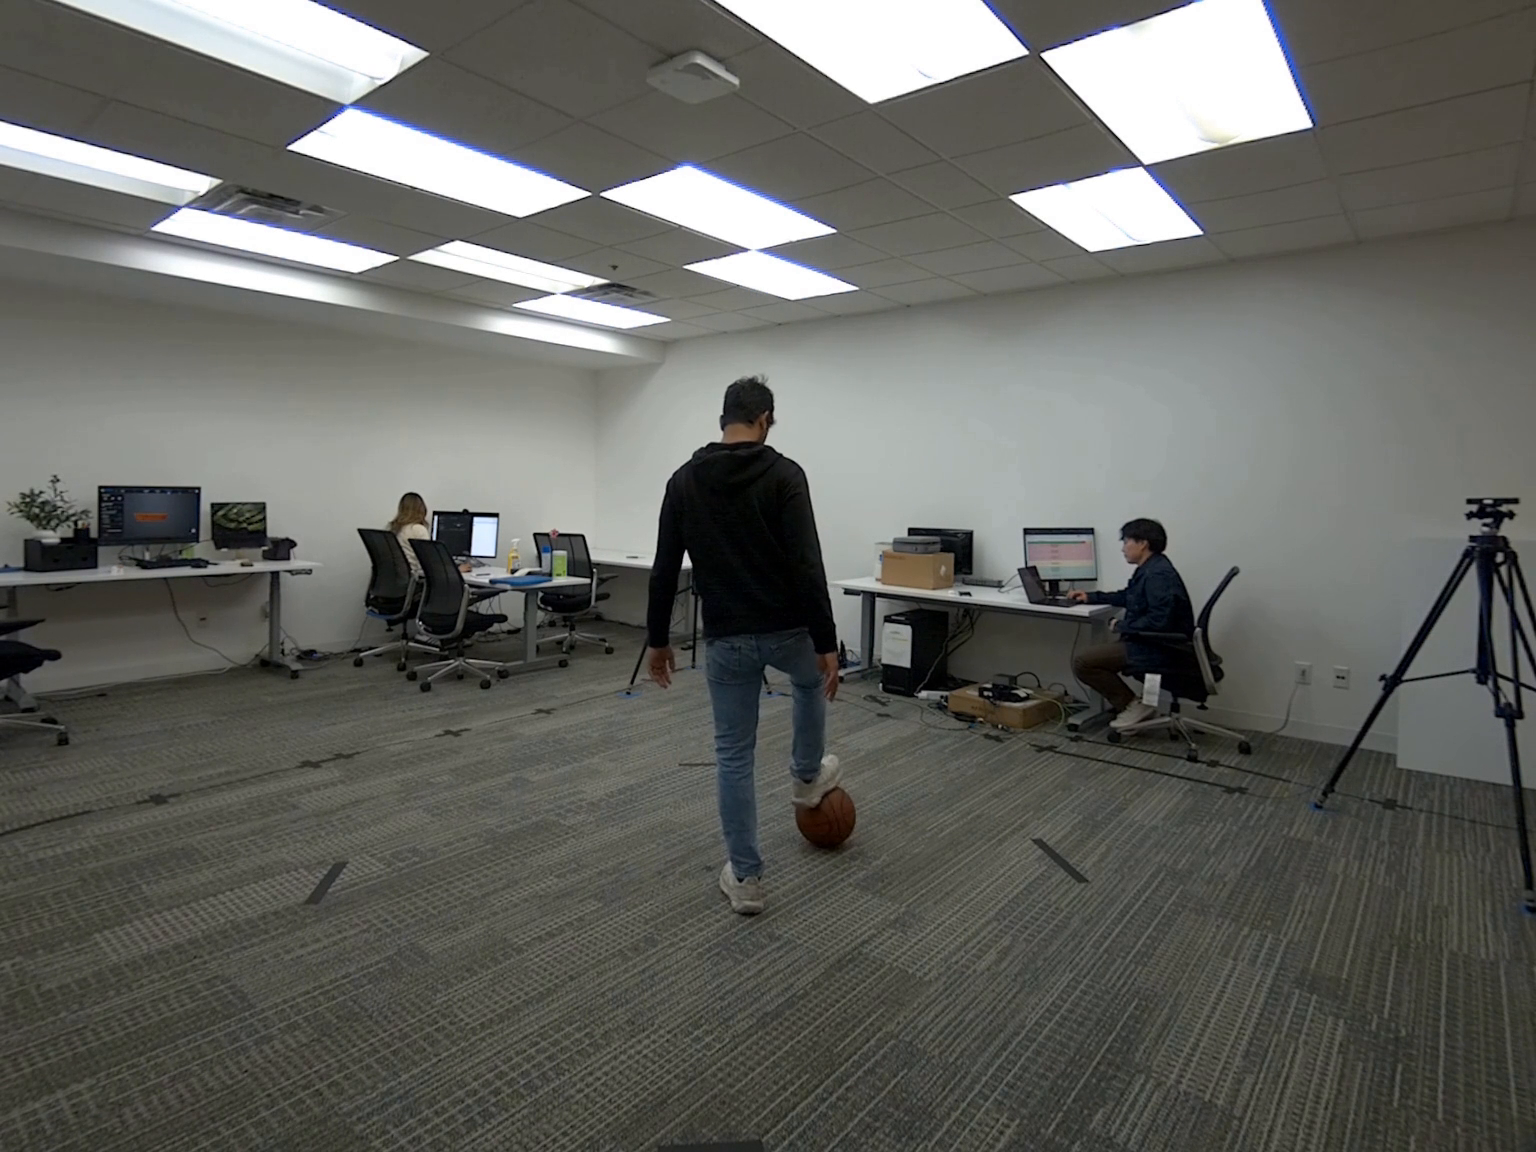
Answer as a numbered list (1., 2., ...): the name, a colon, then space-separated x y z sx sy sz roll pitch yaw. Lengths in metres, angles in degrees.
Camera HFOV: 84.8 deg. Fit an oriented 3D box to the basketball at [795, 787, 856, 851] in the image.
1. basketball: 0.212 0.935 3.335 0.235 0.235 0.237 1 4 -2
